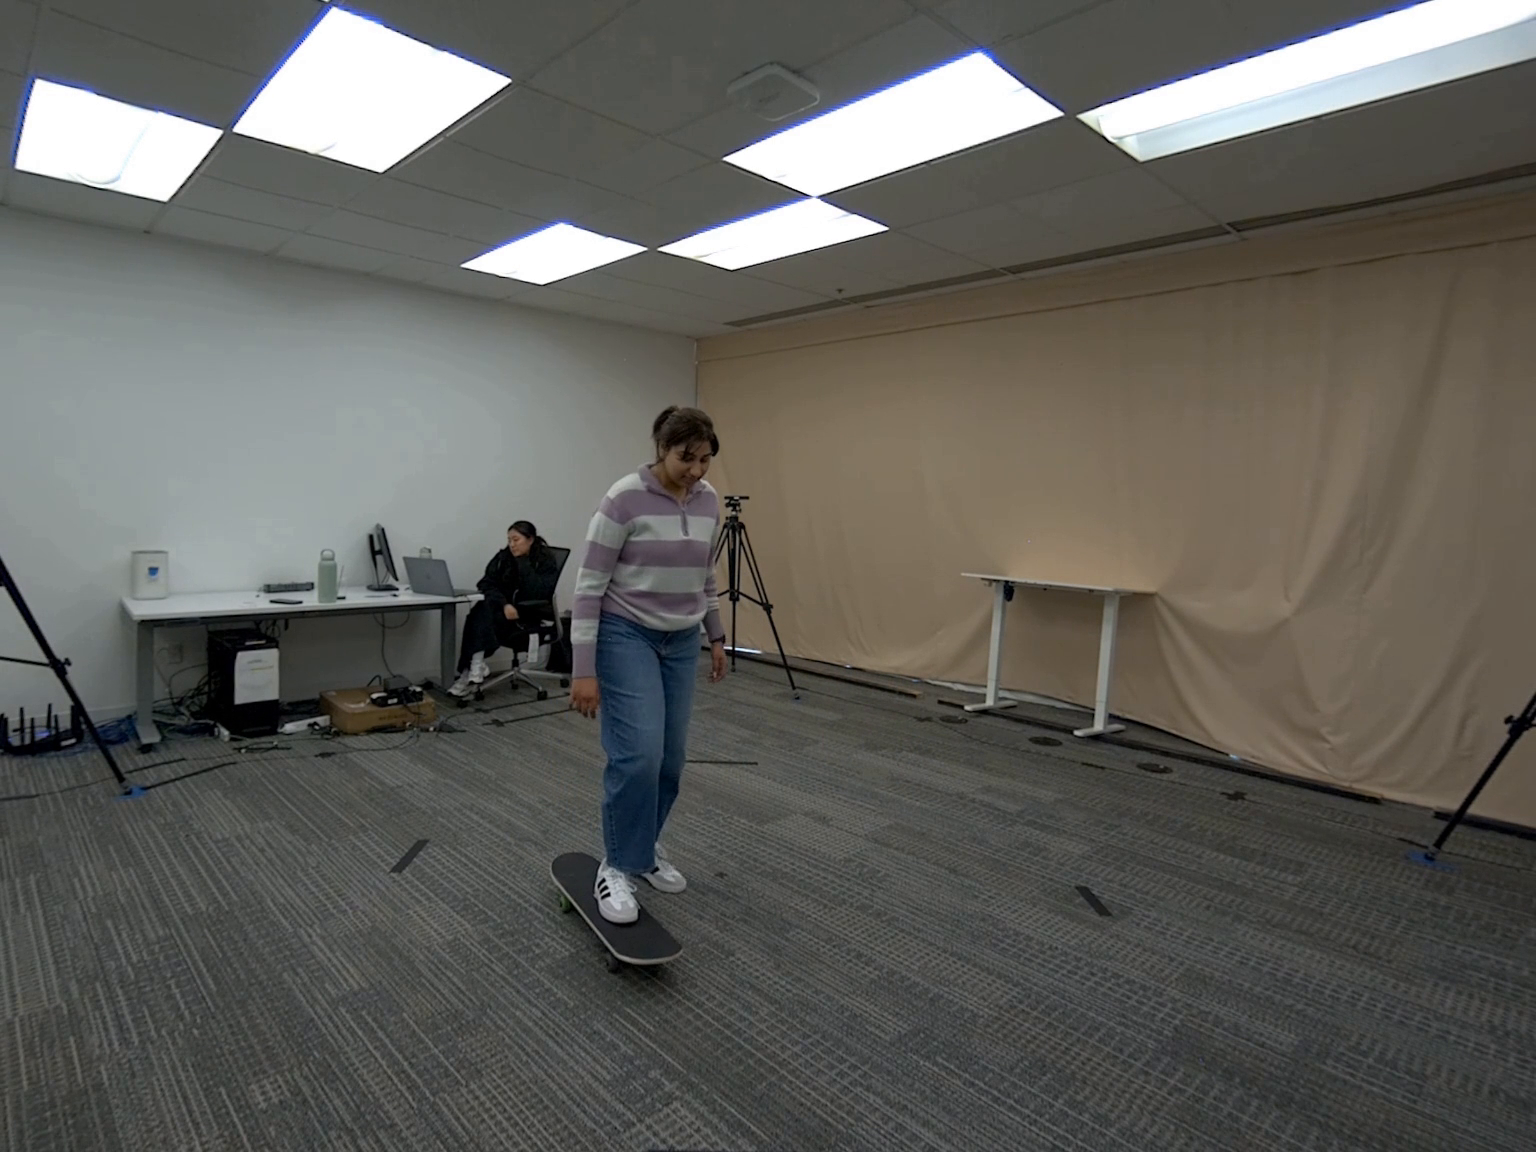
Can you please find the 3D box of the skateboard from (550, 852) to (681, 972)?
[{"bbox_3d":[-0.515,1.082,2.678,0.189,0.110,0.804,1,5,-32],"label":"skateboard"}]
